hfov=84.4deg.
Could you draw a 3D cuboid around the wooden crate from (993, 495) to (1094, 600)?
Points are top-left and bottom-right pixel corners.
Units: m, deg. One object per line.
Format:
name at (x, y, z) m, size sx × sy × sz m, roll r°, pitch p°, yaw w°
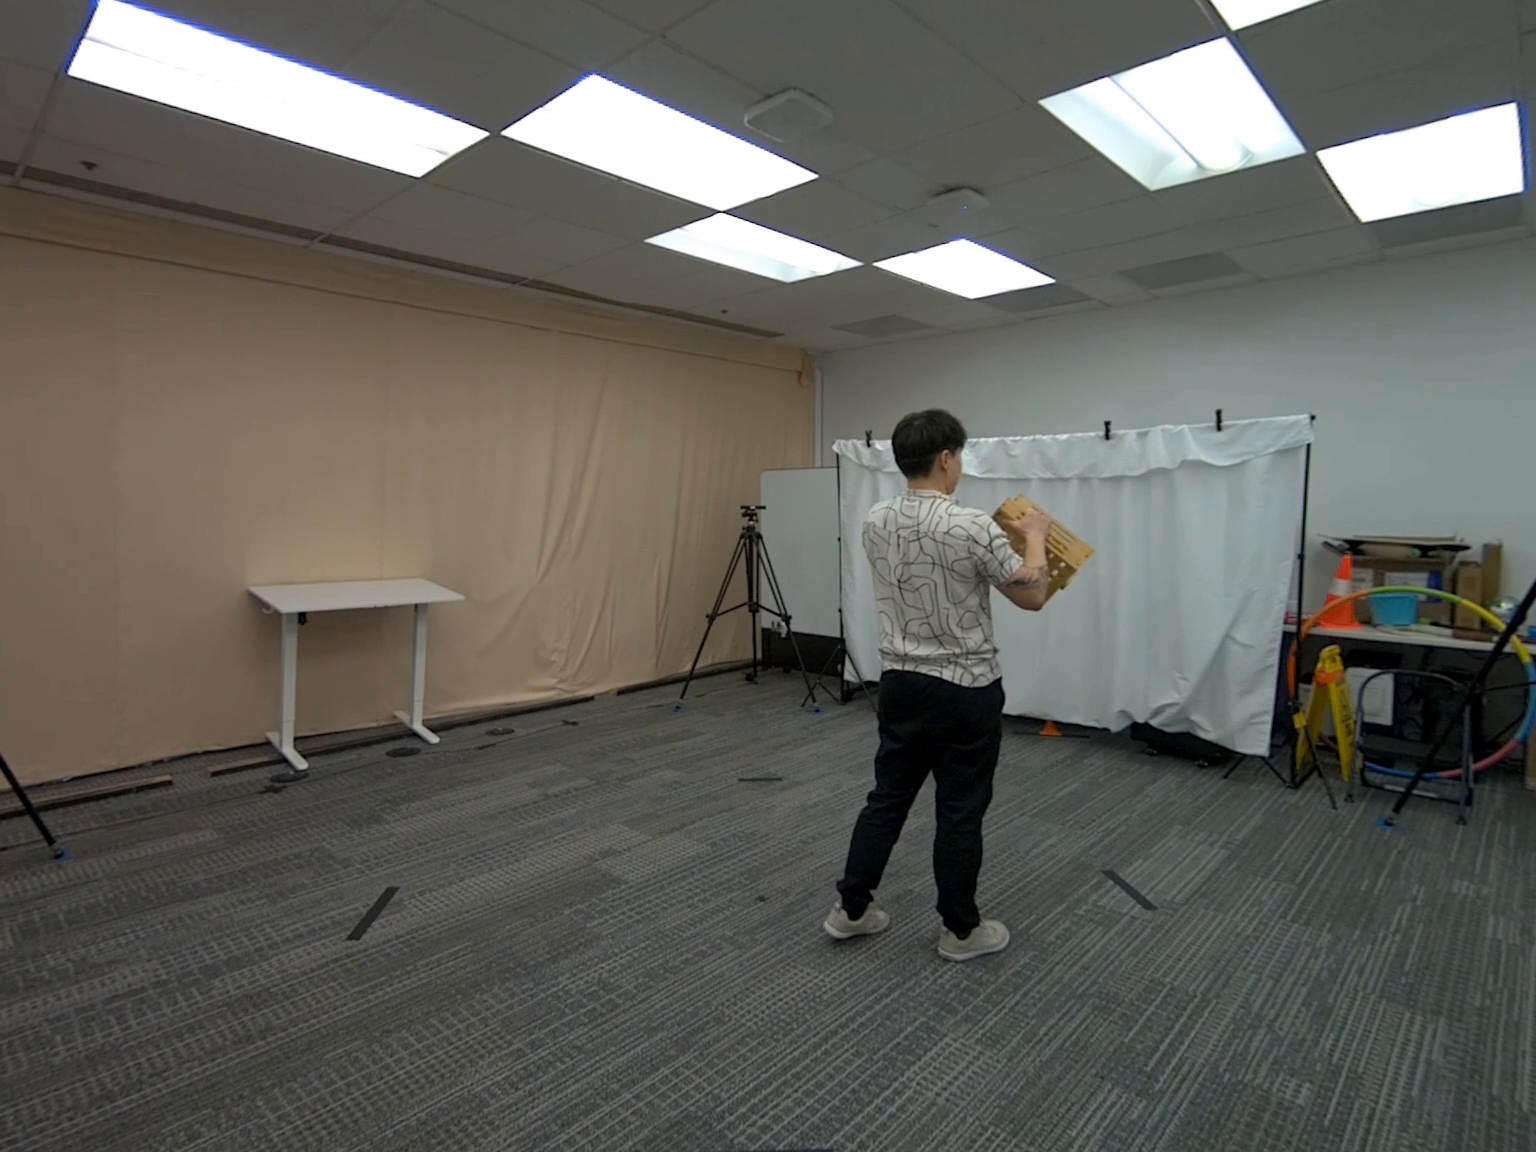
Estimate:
wooden crate at (0.898, -0.110, 2.792) m, size 0.269 × 0.331 × 0.300 m, roll -34°, pitch -21°, yaw -35°
